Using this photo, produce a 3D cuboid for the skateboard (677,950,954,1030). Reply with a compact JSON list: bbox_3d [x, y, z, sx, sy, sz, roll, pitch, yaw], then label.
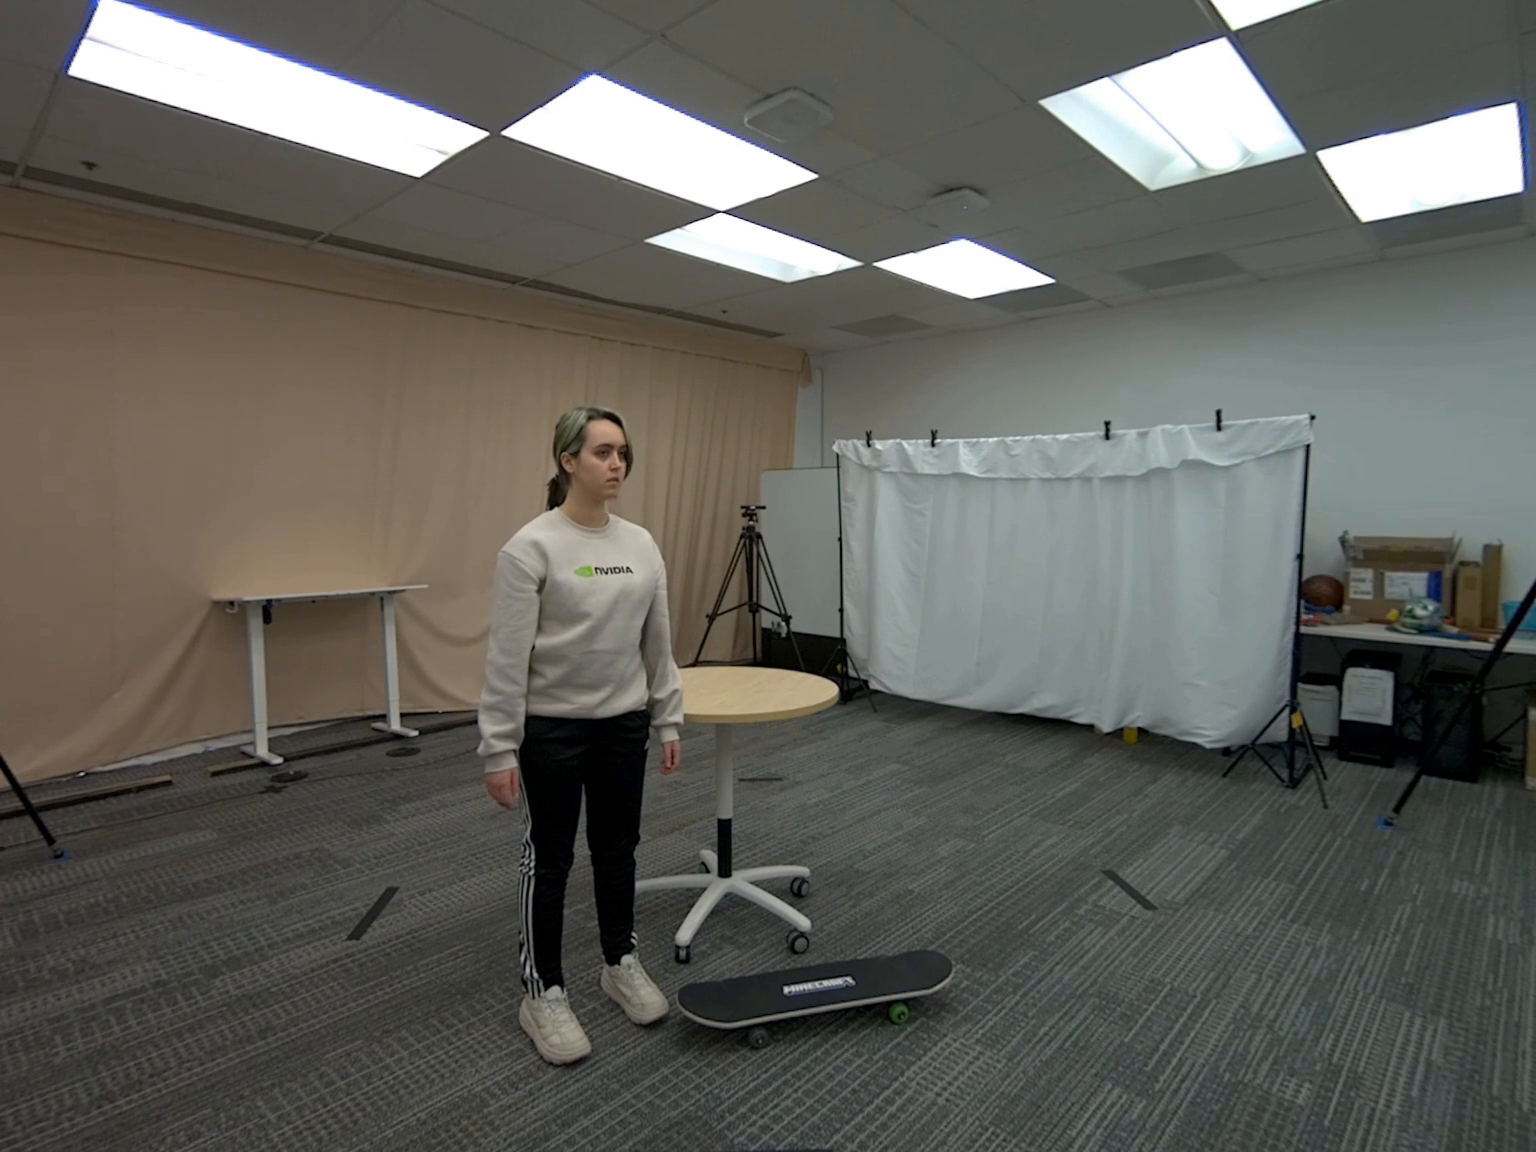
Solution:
[{"bbox_3d":[0.137,1.135,2.297,0.773,0.110,0.197,-3,8,-15],"label":"skateboard"}]
